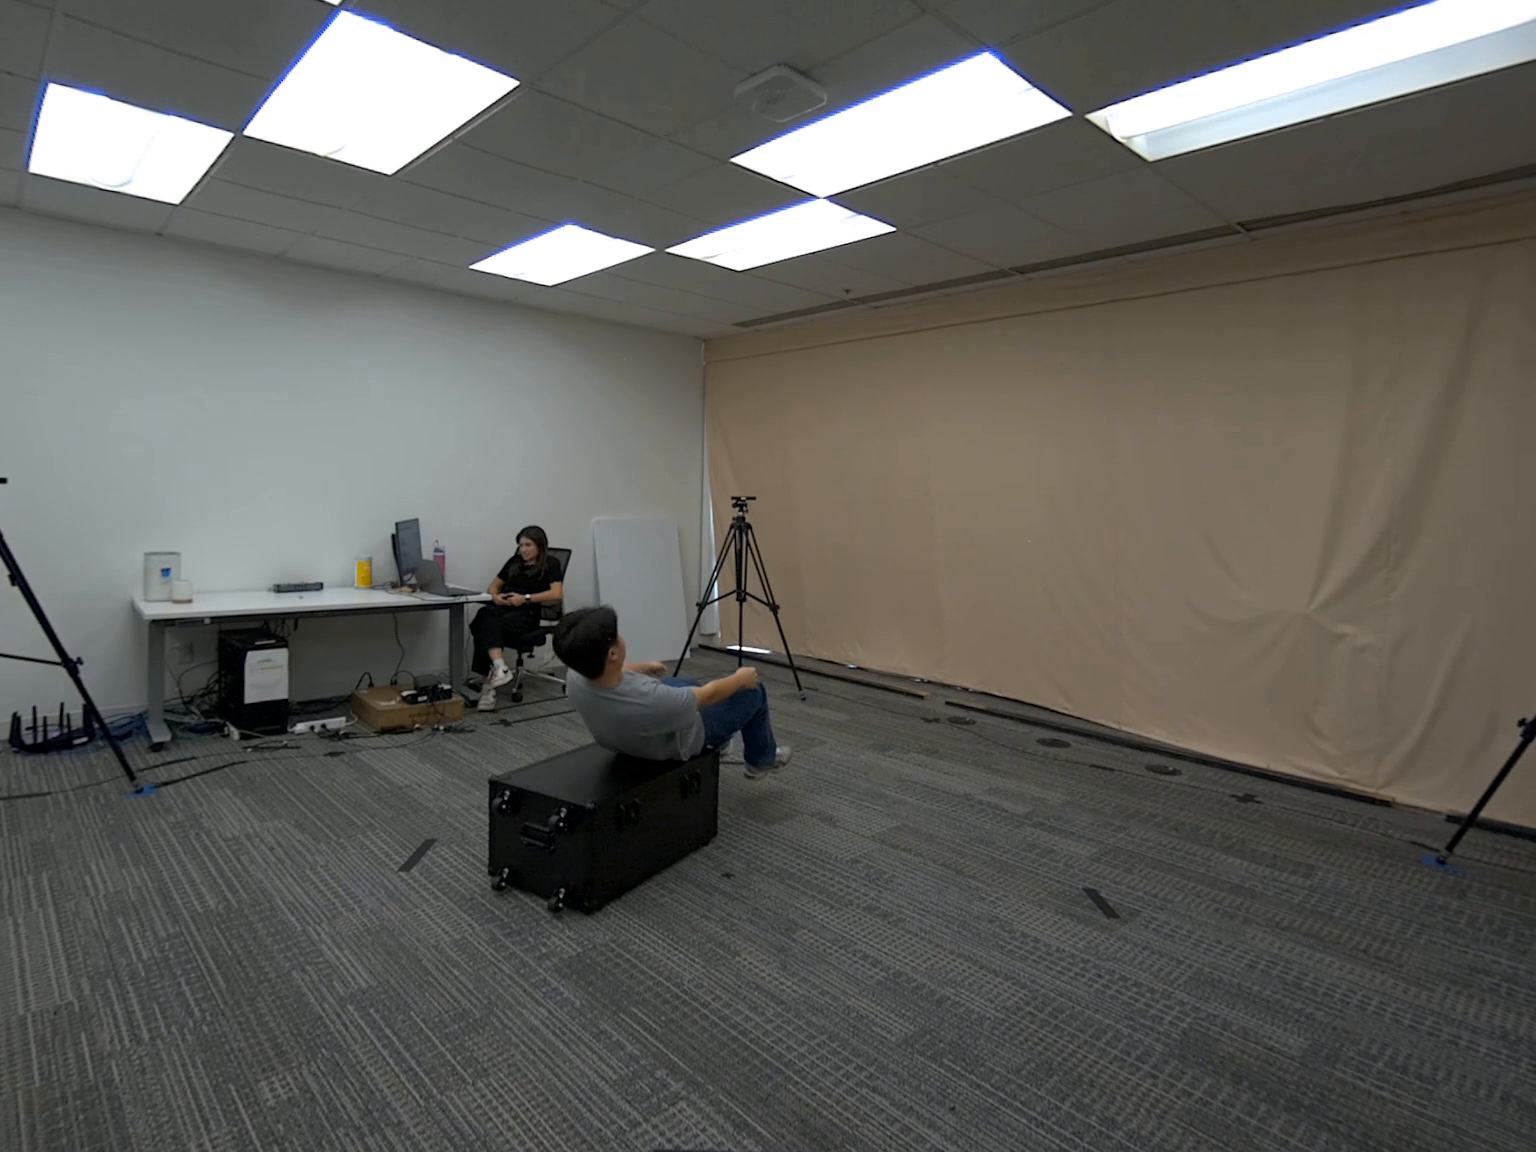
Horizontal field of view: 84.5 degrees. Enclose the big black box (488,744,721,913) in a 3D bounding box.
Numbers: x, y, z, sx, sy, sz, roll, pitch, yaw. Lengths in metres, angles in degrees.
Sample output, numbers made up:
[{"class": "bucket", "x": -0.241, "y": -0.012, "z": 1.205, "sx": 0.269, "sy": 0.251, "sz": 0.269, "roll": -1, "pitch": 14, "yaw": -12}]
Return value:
[{"class": "big black box", "x": -0.623, "y": 0.901, "z": 3.179, "sx": 0.533, "sy": 0.395, "sz": 0.845, "roll": 5, "pitch": 5, "yaw": 30}]
